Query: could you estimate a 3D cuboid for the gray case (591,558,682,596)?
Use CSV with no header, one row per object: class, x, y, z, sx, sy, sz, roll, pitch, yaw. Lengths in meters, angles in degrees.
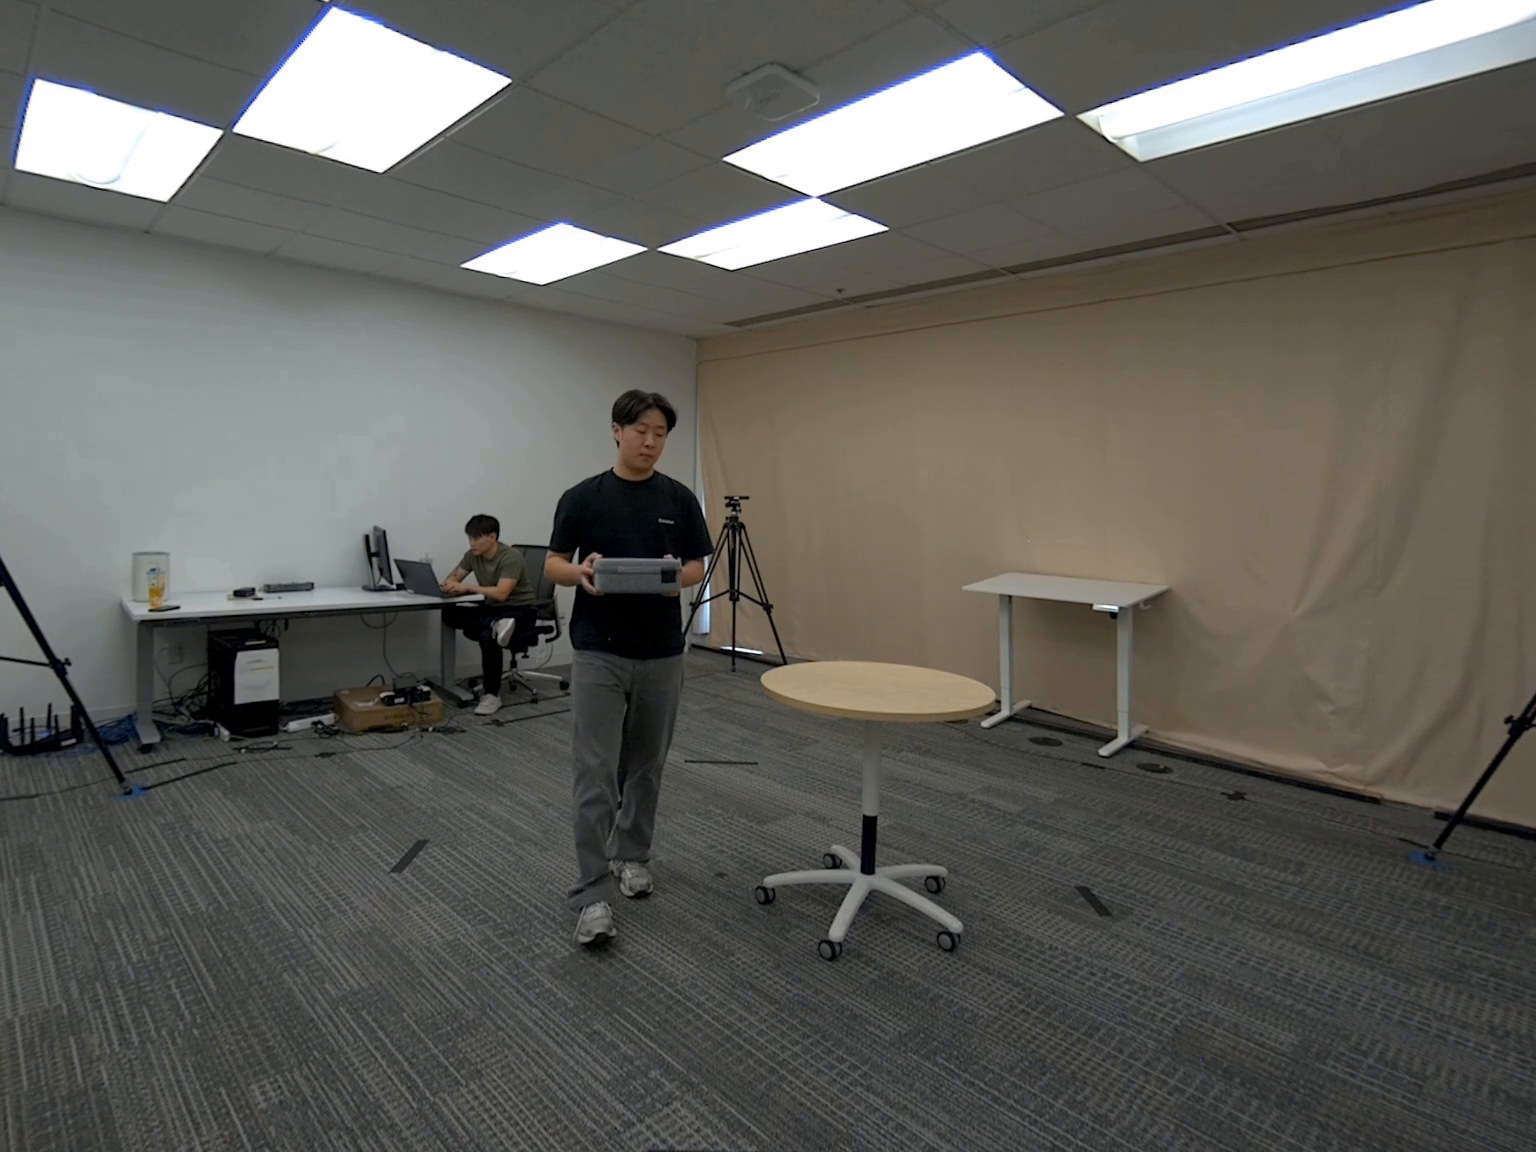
gray case,-0.416,-0.003,2.599,0.262,0.103,0.288,1,0,-6
